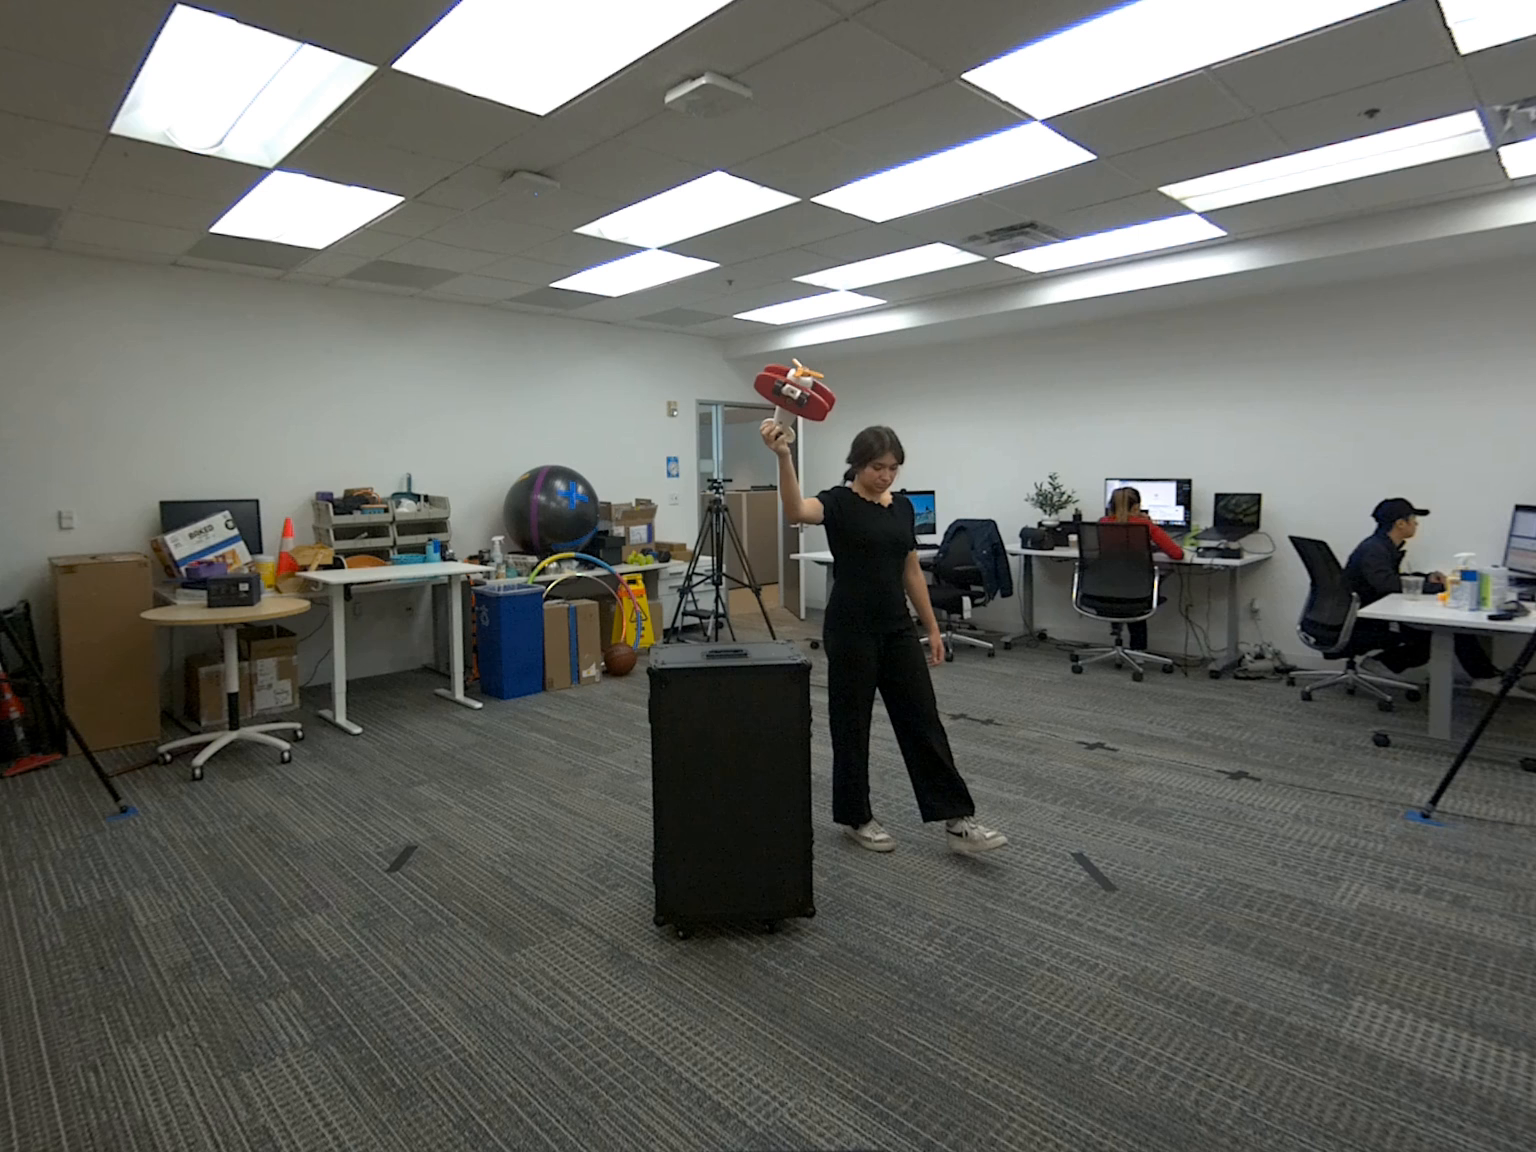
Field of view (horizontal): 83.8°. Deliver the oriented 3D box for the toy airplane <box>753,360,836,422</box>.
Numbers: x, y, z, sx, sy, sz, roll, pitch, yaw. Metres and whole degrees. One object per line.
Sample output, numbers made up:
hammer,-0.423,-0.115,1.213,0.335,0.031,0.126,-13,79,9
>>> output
toy airplane,0.059,-0.560,2.751,0.263,0.246,0.157,-26,23,47
